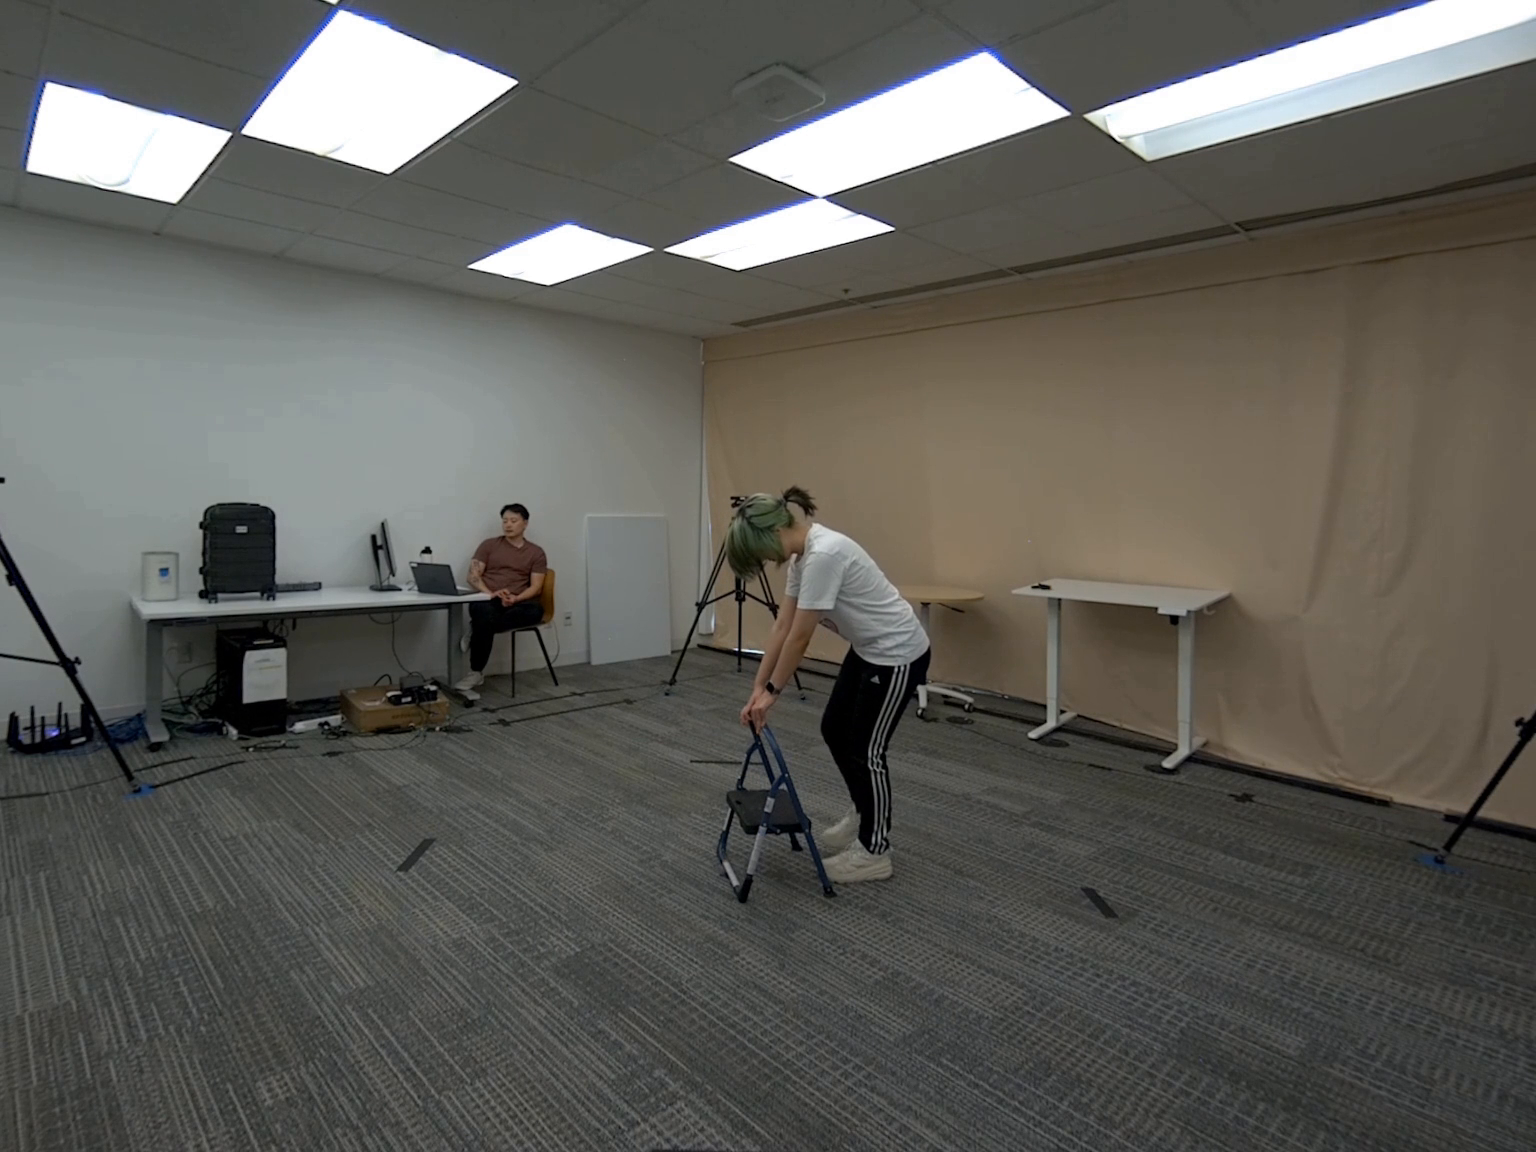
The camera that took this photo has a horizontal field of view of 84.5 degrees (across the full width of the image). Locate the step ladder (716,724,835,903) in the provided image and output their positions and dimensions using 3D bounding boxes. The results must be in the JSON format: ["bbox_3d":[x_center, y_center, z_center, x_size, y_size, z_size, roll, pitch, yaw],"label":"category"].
[{"bbox_3d":[0.018,0.808,3.103,0.345,0.605,0.436,1,3,-15],"label":"step ladder"}]
